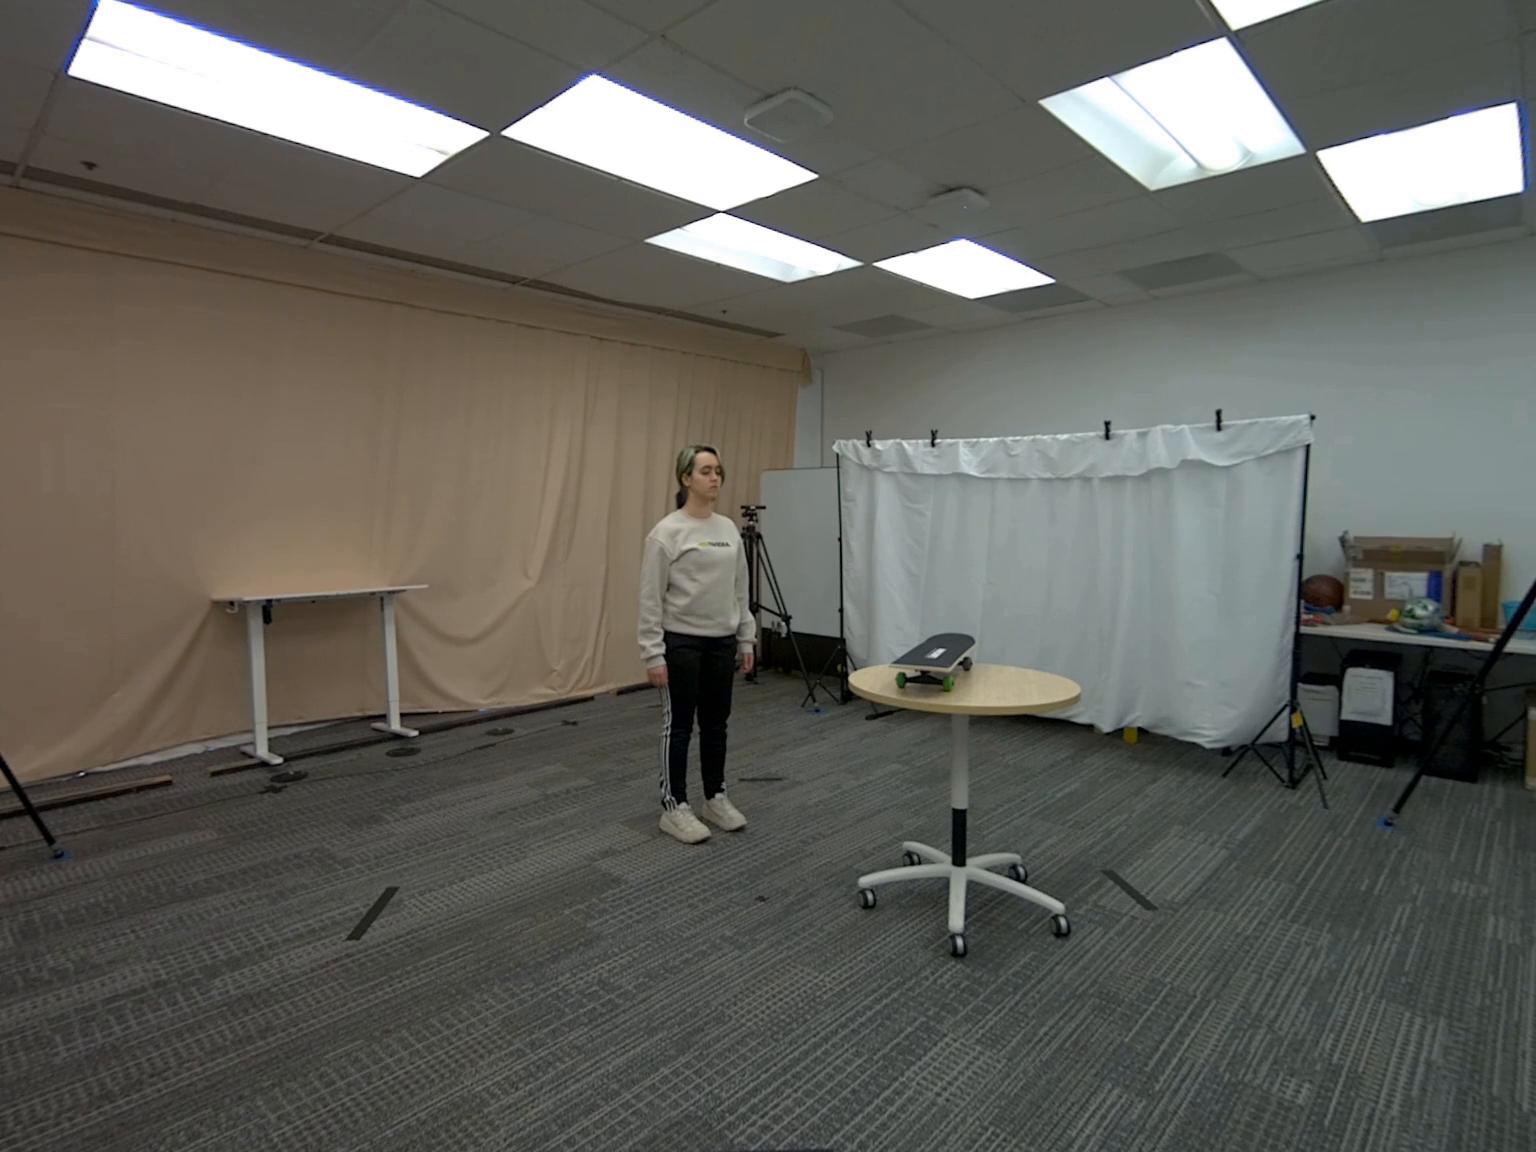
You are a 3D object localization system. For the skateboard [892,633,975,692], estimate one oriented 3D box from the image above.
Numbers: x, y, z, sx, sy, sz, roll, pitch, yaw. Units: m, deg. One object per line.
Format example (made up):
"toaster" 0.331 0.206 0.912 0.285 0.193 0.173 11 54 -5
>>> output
"skateboard" 0.606 0.314 2.955 0.198 0.110 0.768 3 5 23
